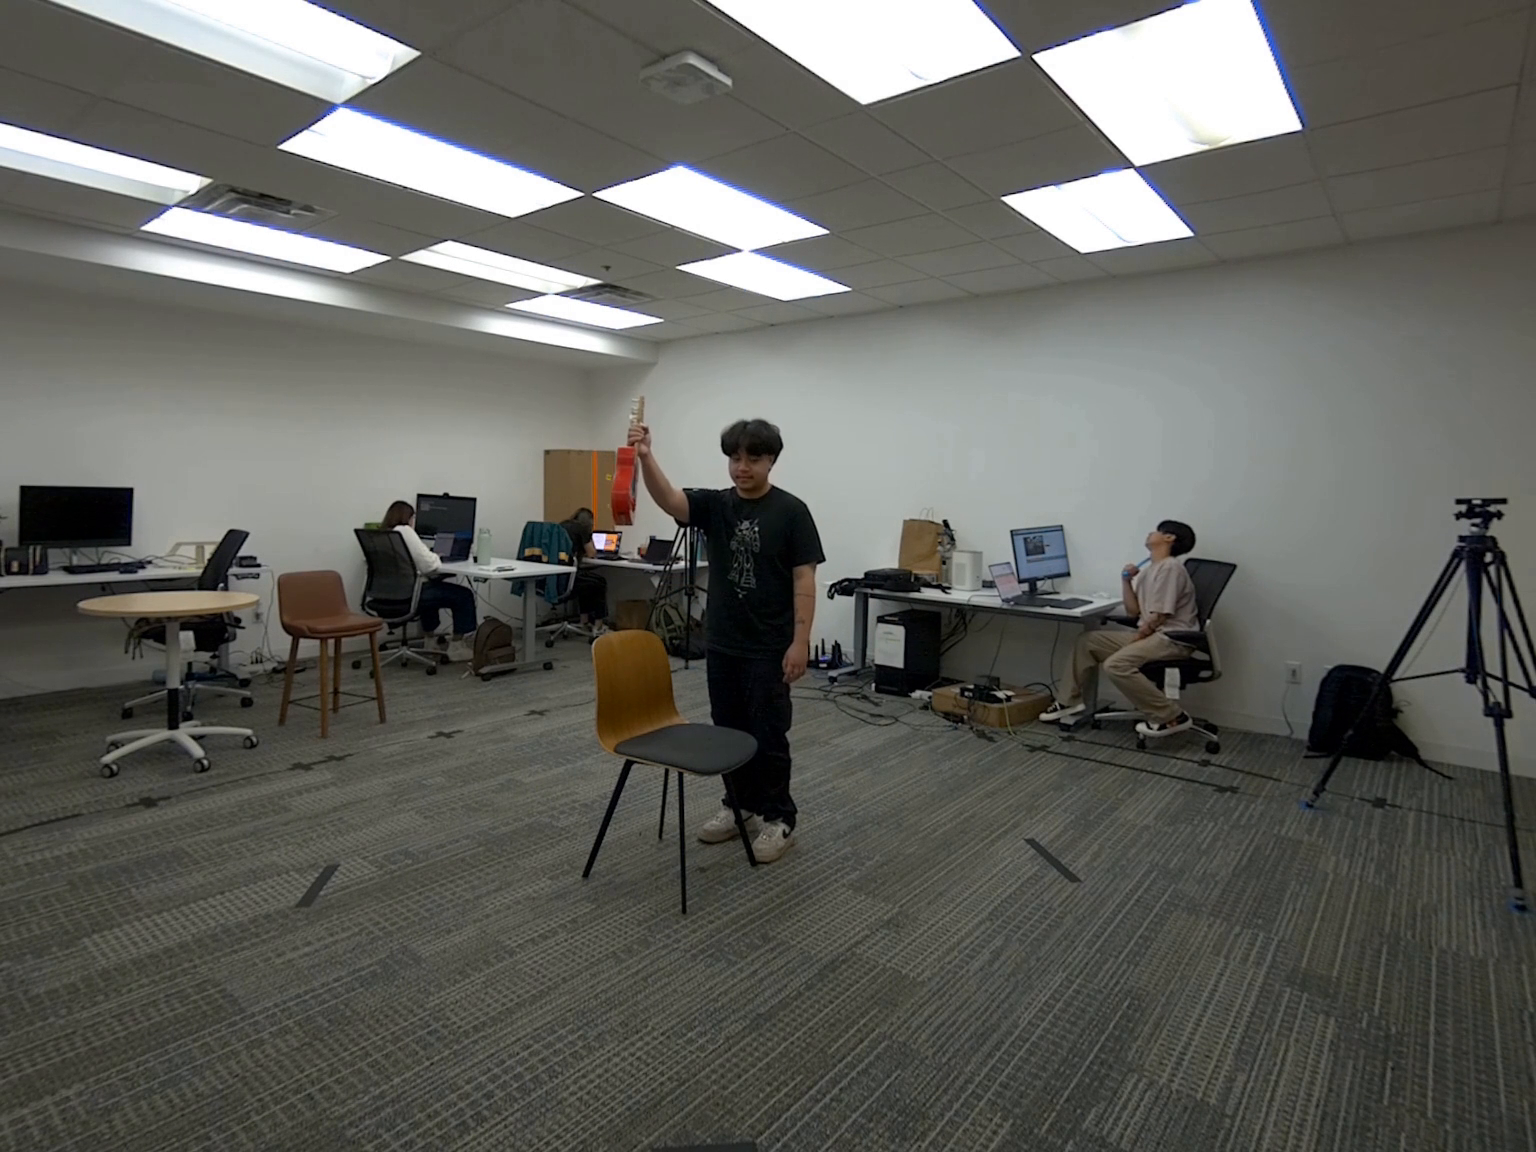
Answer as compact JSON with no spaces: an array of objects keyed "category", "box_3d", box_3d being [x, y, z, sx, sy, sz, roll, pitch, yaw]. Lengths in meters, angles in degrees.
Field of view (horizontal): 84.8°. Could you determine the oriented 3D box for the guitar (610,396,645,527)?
[{"category":"guitar","box_3d":[-0.487,-0.407,2.960,0.070,0.510,0.188,3,-33,-3]}]
